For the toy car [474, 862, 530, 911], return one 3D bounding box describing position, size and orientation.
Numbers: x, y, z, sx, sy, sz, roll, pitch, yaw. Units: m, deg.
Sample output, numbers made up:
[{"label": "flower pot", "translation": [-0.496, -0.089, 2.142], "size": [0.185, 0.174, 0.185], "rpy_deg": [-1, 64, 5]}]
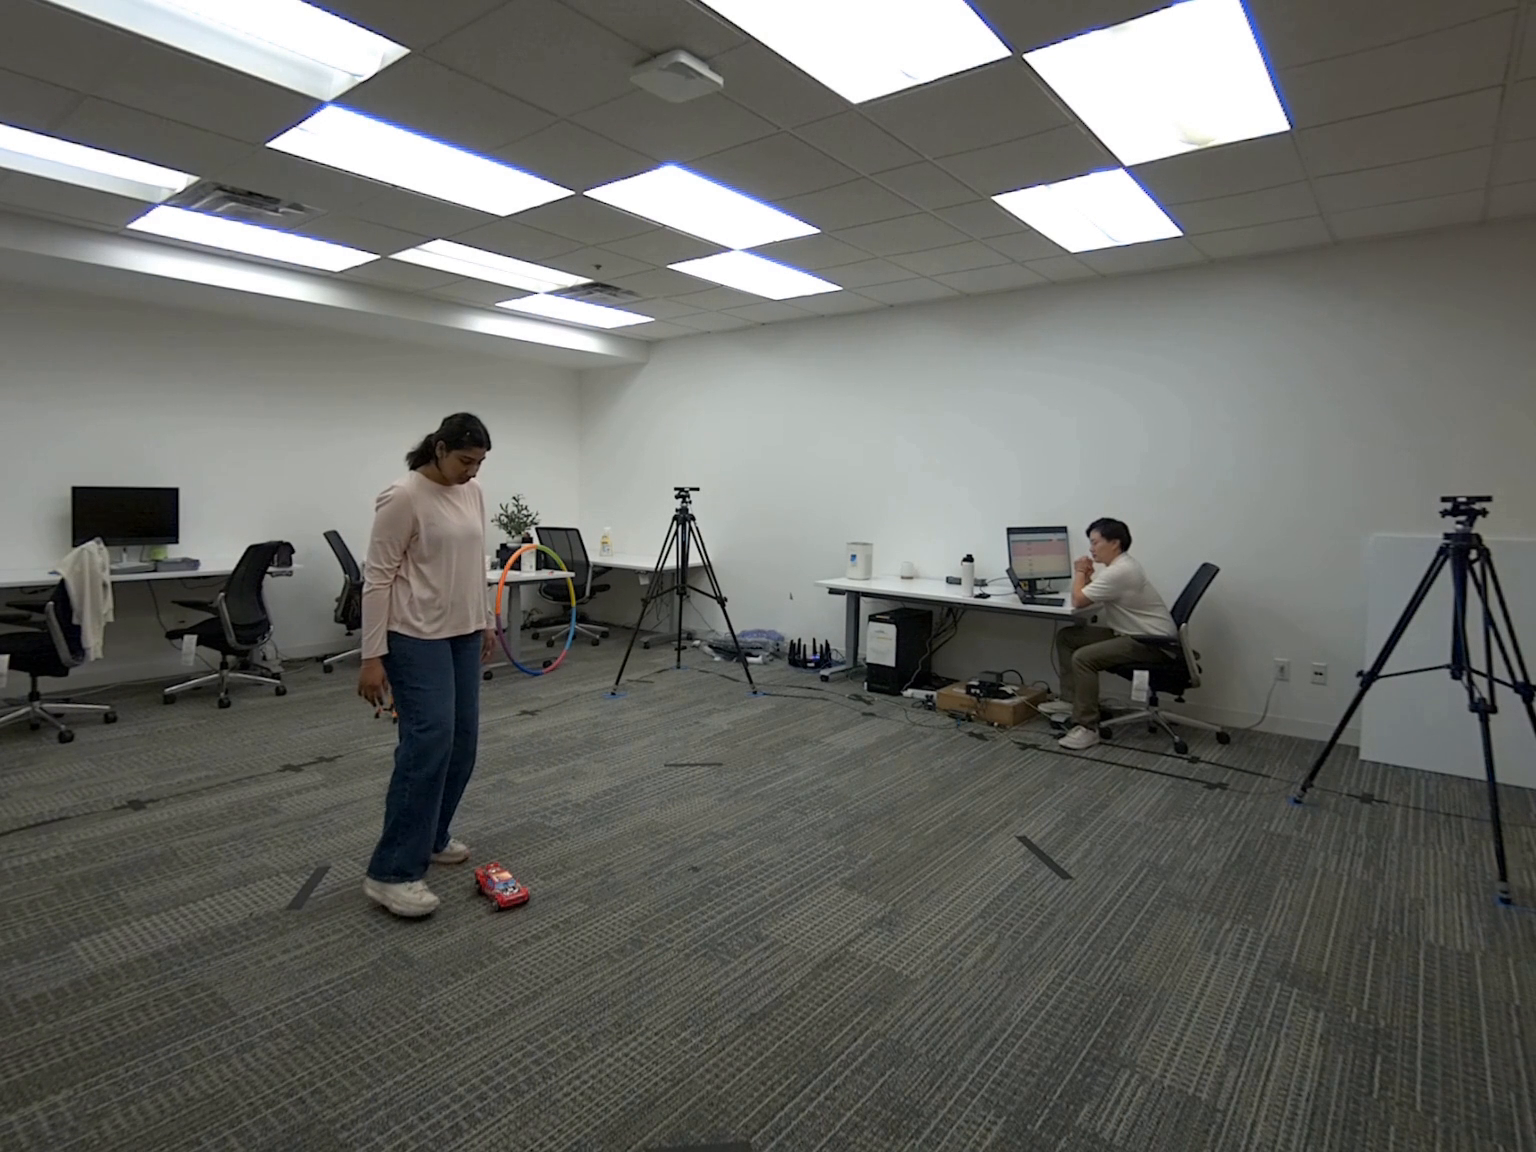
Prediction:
[{"label": "toy car", "translation": [-0.919, 1.051, 2.874], "size": [0.126, 0.082, 0.265], "rpy_deg": [-4, 18, -39]}]
